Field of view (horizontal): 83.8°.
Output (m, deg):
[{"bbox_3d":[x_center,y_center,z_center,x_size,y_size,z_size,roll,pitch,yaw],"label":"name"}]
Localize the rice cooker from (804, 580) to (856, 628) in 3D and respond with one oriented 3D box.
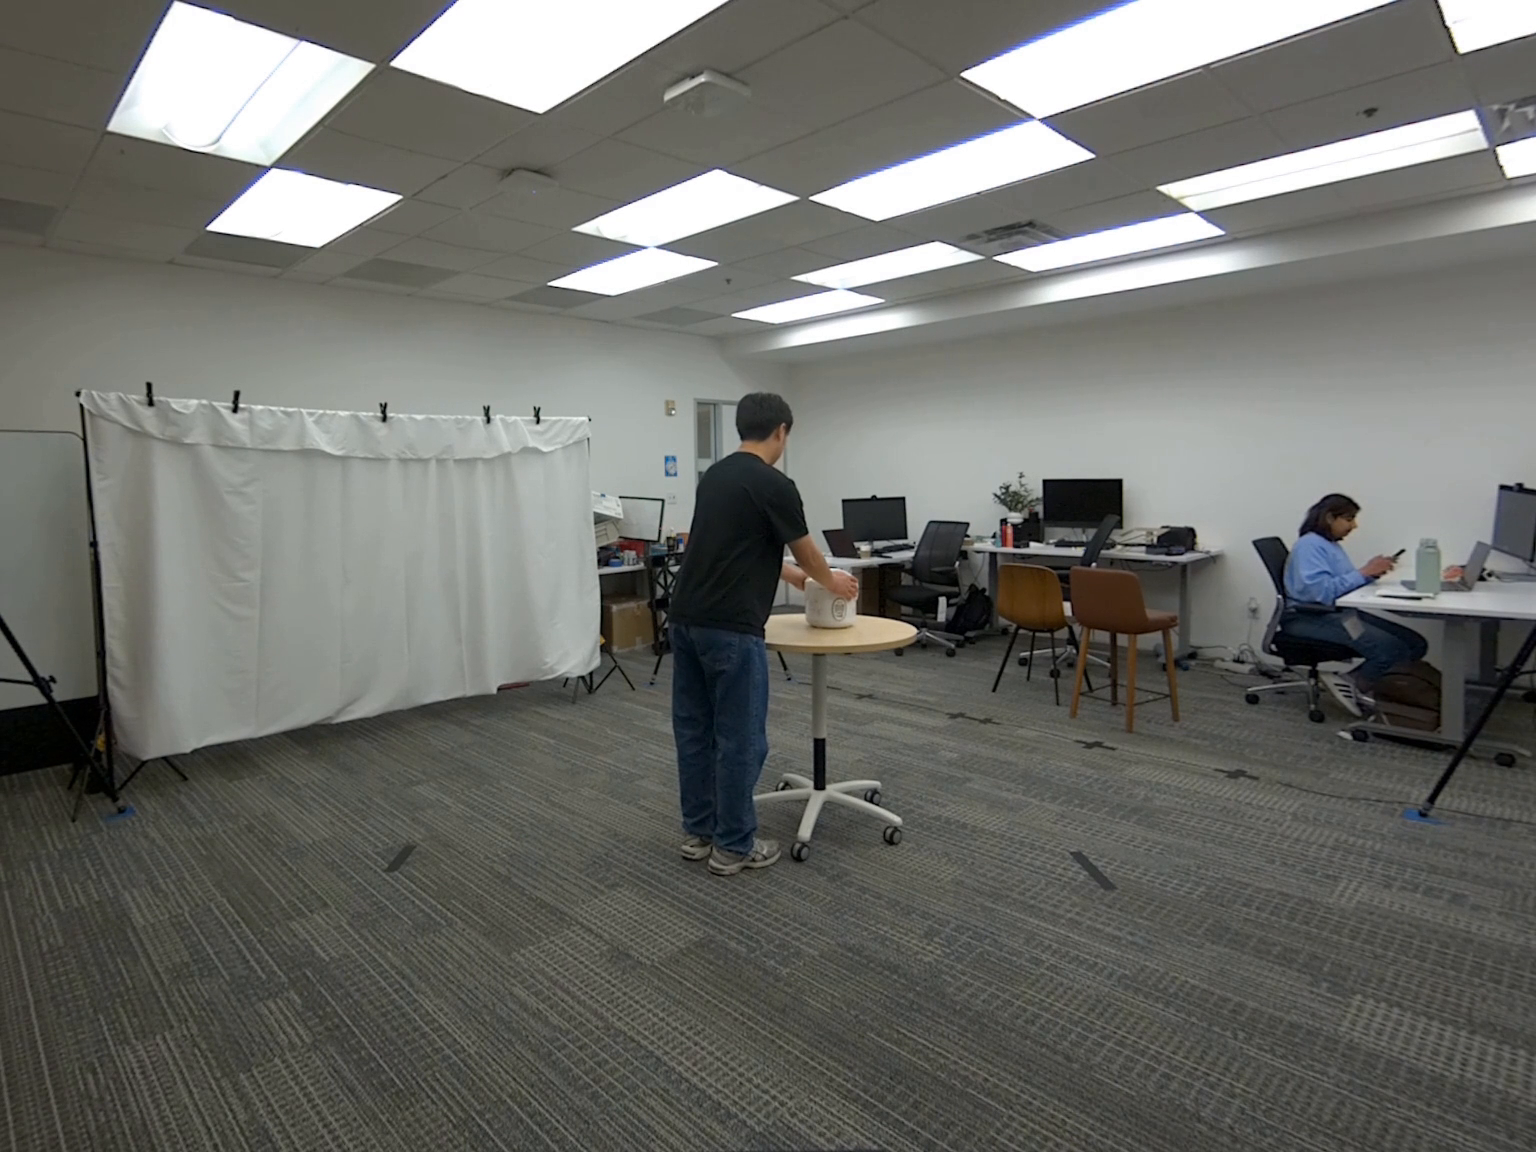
[{"bbox_3d":[0.262,0.085,3.465,0.218,0.232,0.221,-3,5,-14],"label":"rice cooker"}]
